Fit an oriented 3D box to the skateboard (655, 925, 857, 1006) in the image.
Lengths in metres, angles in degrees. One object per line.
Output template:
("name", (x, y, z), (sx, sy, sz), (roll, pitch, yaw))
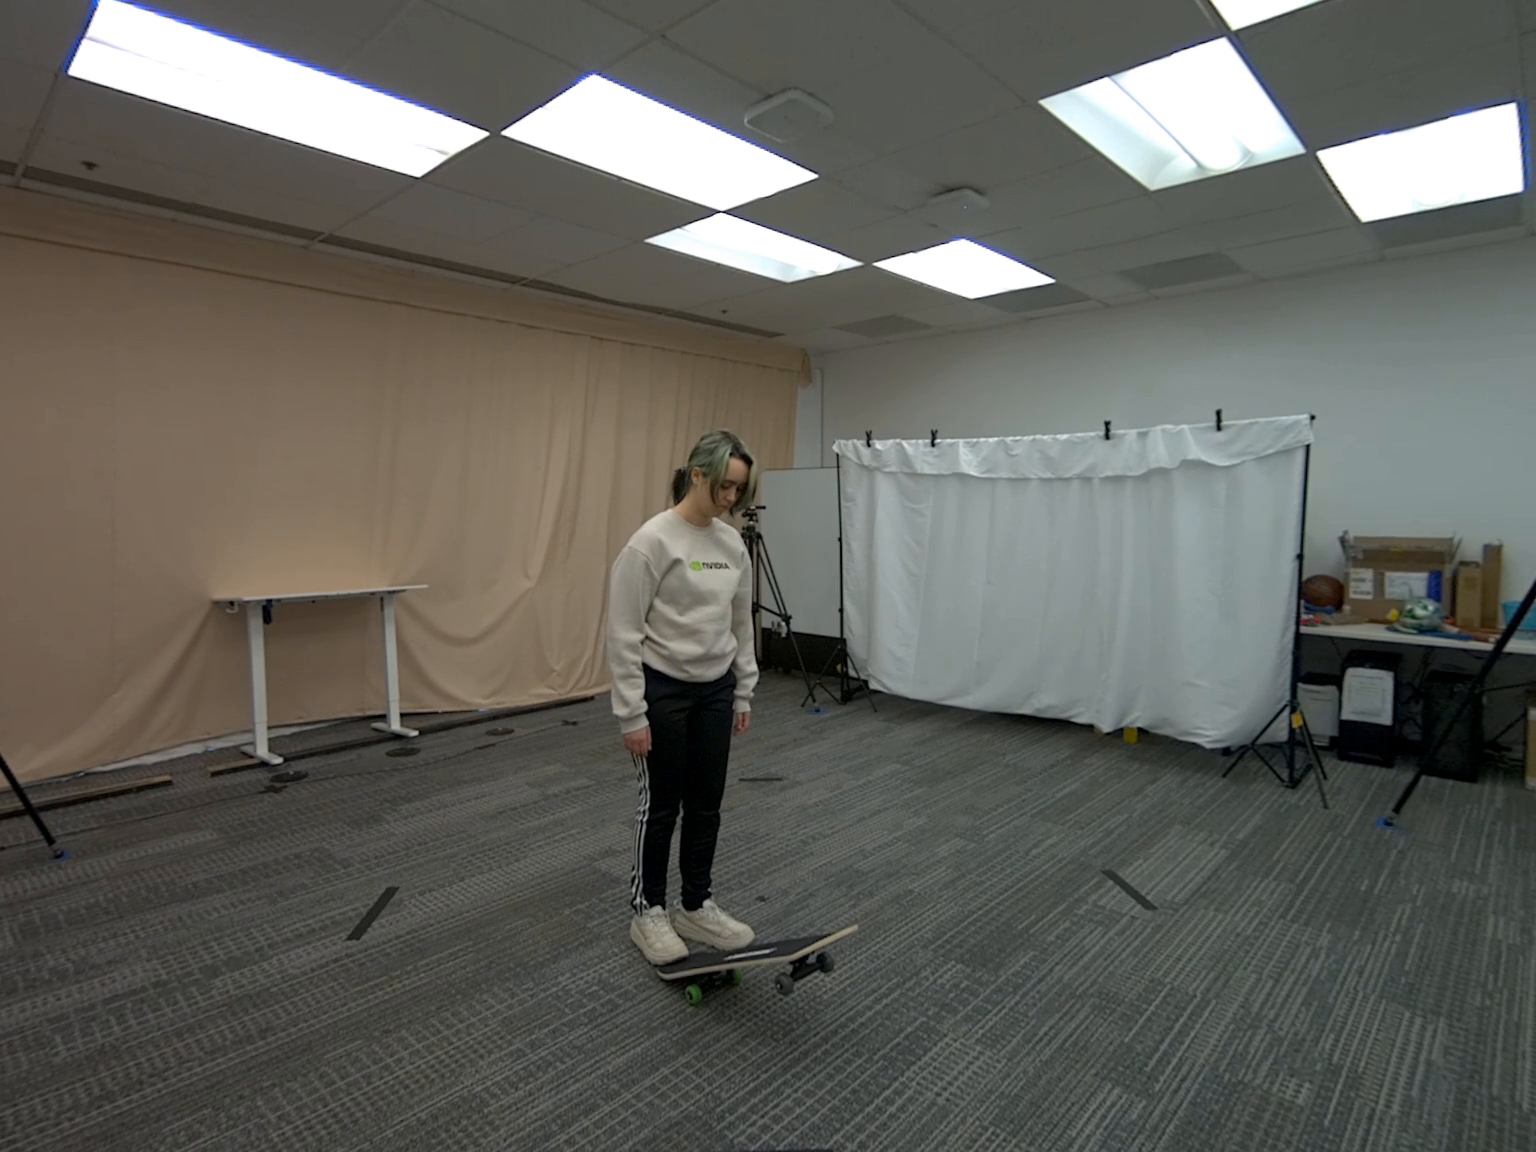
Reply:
("skateboard", (-0.038, 1.061, 2.275), (0.187, 0.112, 0.797), (-3, -22, -42))
